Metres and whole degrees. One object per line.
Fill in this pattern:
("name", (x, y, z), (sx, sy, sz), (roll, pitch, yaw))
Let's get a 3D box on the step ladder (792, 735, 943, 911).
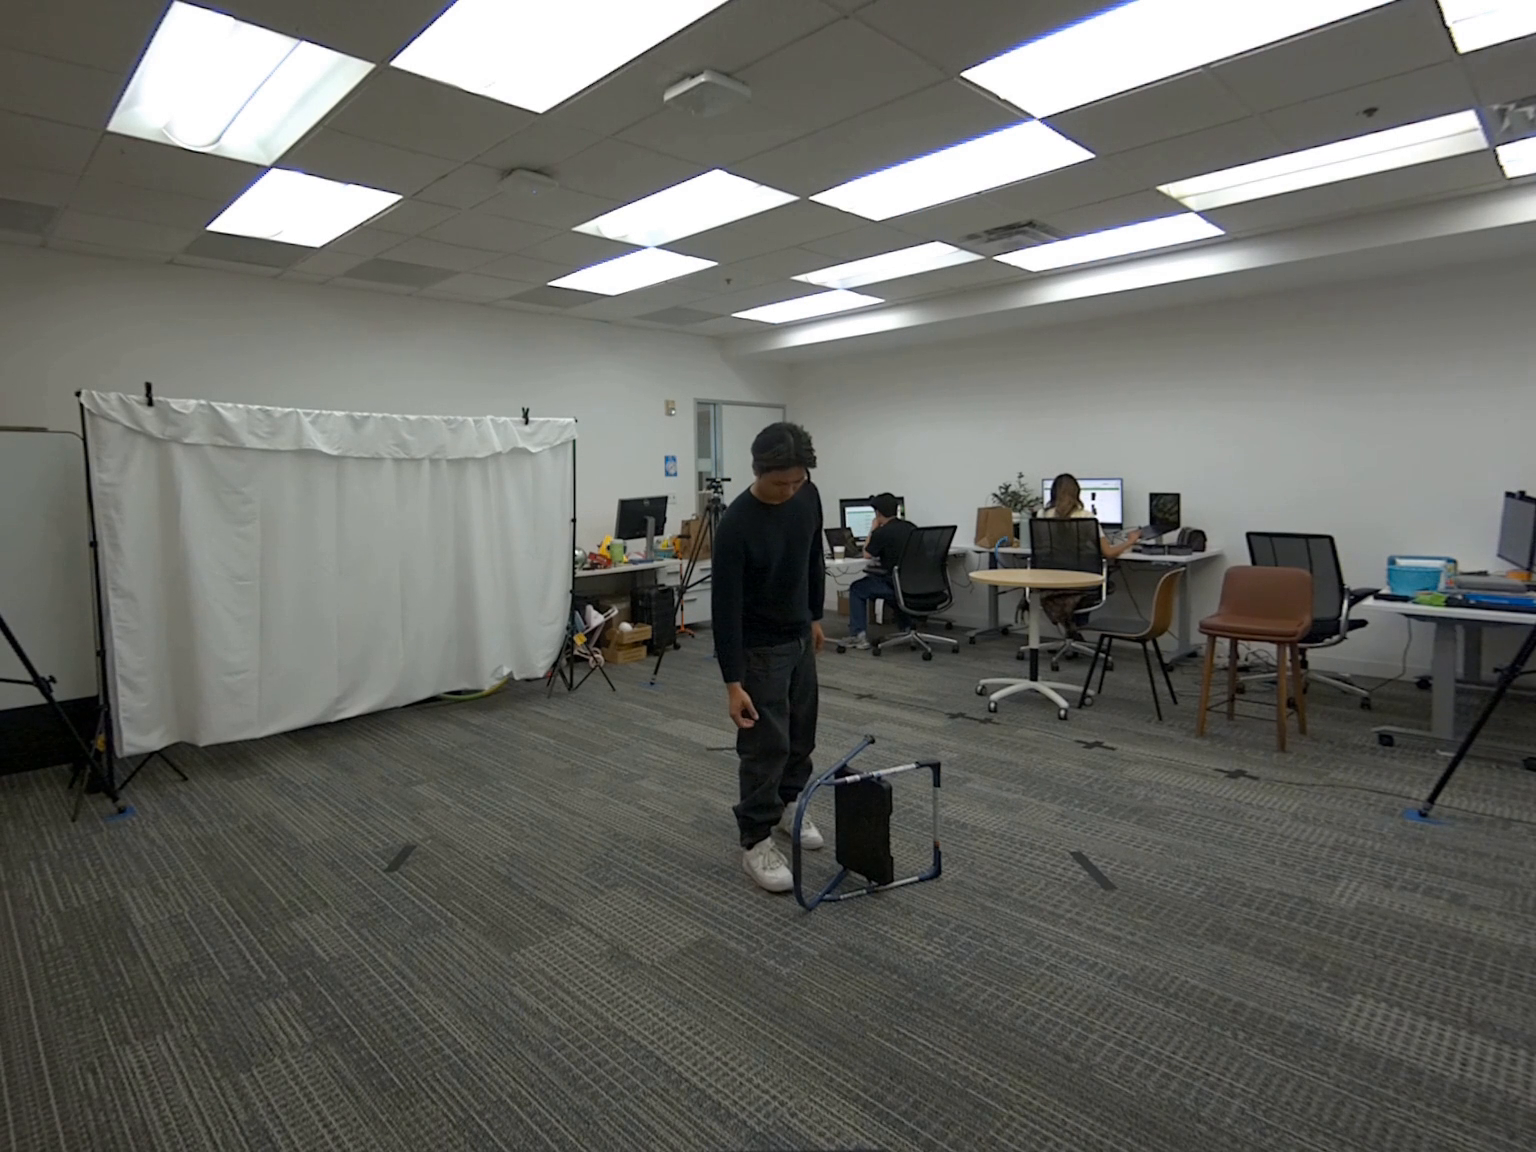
("step ladder", (0.268, 0.852, 2.902), (0.591, 0.428, 0.360), (-7, 8, -39))
